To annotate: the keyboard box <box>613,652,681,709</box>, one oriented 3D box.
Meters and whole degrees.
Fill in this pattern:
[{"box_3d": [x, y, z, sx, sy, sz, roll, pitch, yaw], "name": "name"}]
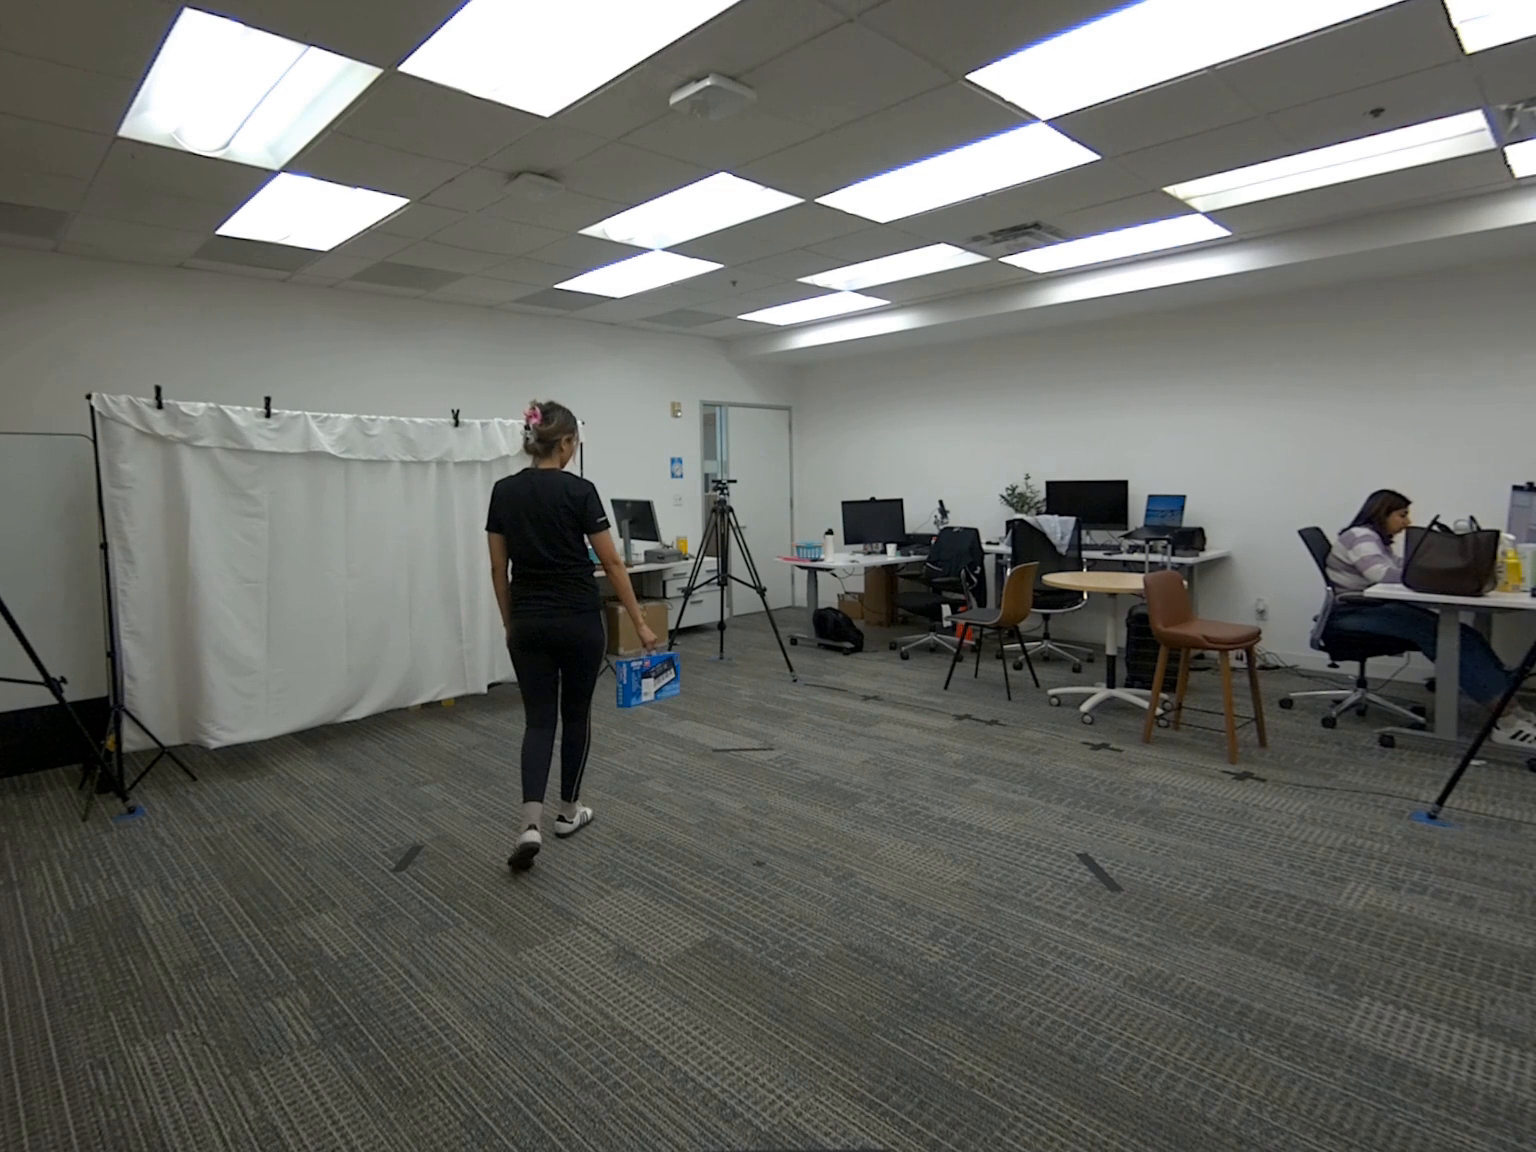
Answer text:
[{"box_3d": [-0.463, 0.396, 3.326, 0.060, 0.176, 0.428, -3, -2, 19], "name": "keyboard box"}]
